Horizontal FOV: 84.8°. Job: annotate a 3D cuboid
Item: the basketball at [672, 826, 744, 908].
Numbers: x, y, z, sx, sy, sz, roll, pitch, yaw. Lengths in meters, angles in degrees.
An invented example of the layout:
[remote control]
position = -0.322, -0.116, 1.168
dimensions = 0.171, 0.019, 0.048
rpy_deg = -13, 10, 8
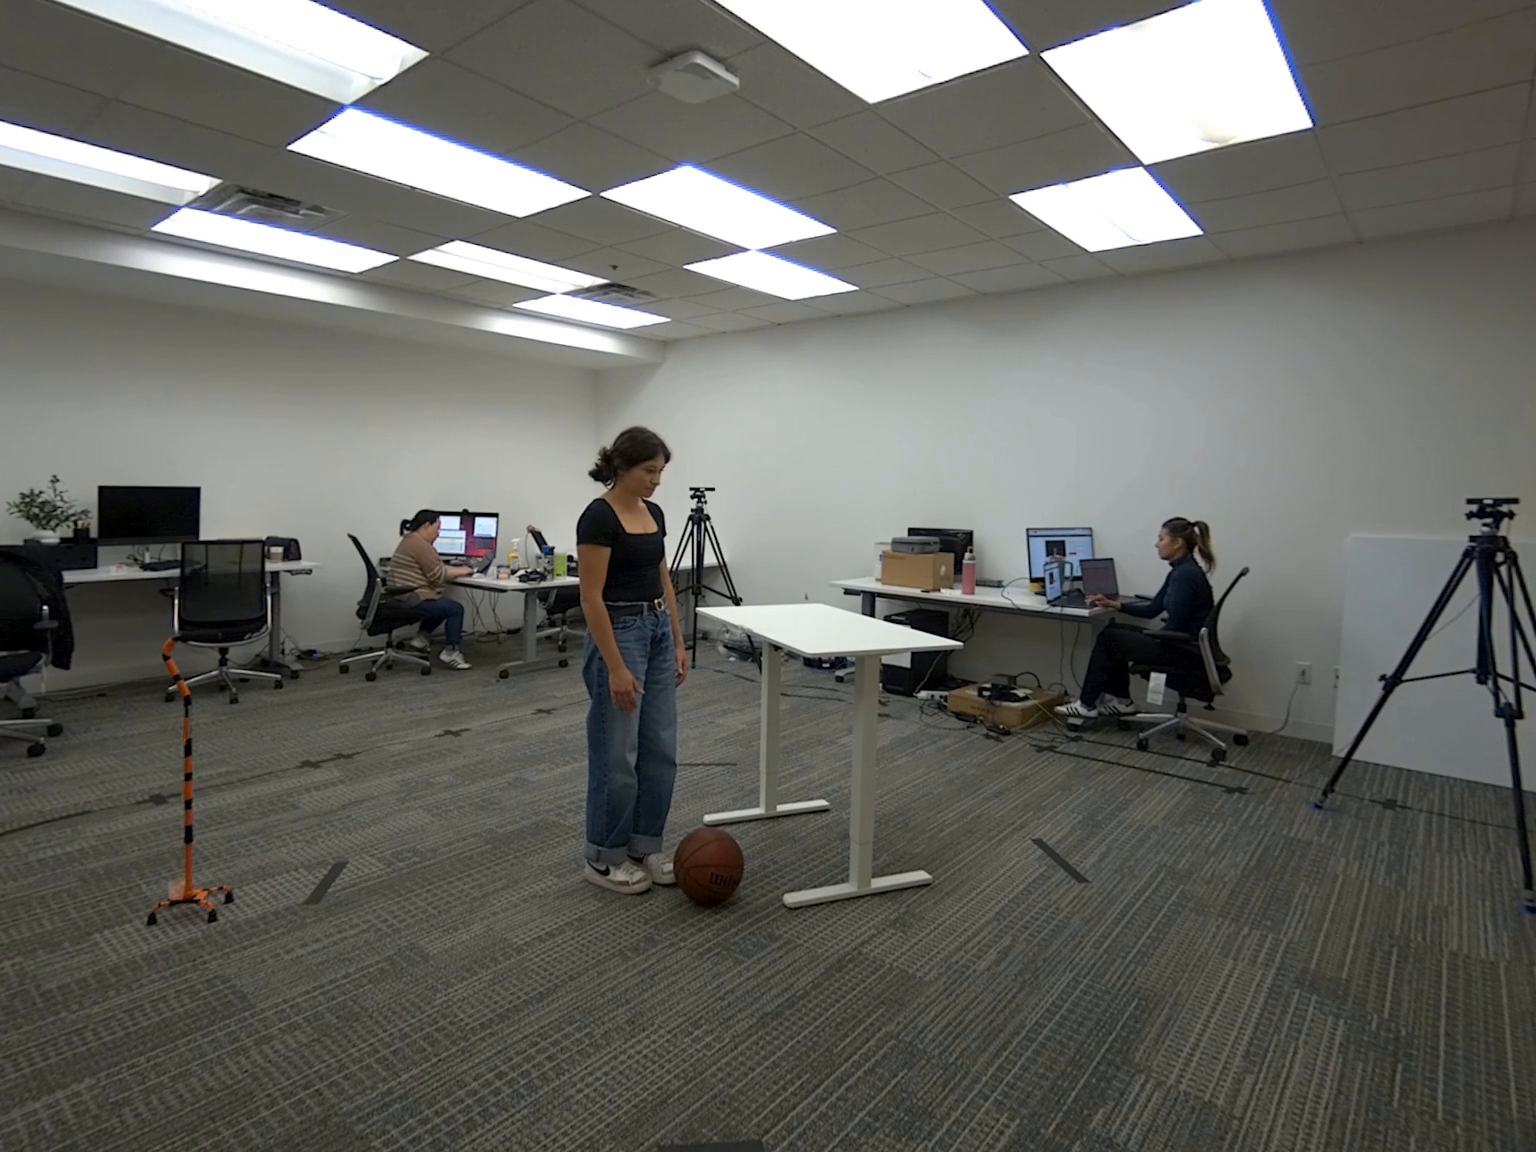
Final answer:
[basketball]
position = -0.216, 0.966, 2.864
dimensions = 0.235, 0.235, 0.237
rpy_deg = 1, 4, -2
